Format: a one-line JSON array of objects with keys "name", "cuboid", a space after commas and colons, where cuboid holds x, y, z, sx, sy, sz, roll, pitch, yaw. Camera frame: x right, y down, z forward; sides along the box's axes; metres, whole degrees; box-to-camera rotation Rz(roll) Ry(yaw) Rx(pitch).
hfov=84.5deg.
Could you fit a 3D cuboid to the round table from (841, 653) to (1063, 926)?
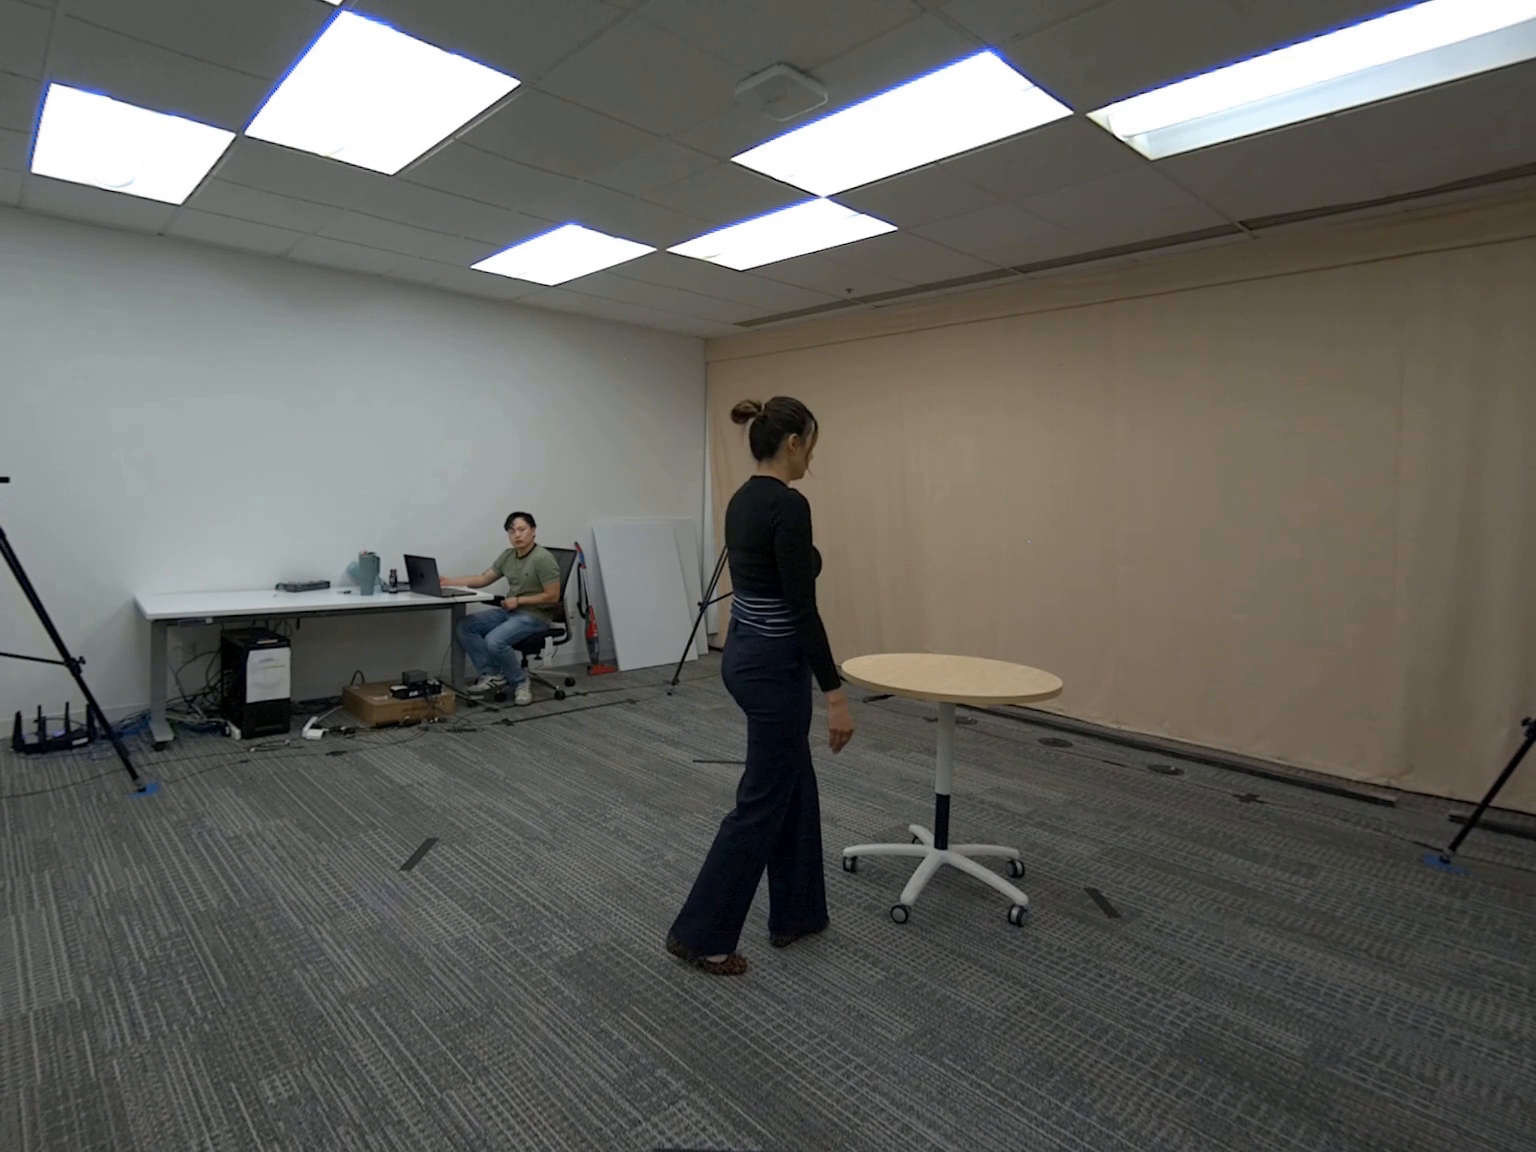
[{"name": "round table", "cuboid": [0.624, 0.739, 3.036, 0.763, 0.792, 0.766, 2, 4, -2]}]
